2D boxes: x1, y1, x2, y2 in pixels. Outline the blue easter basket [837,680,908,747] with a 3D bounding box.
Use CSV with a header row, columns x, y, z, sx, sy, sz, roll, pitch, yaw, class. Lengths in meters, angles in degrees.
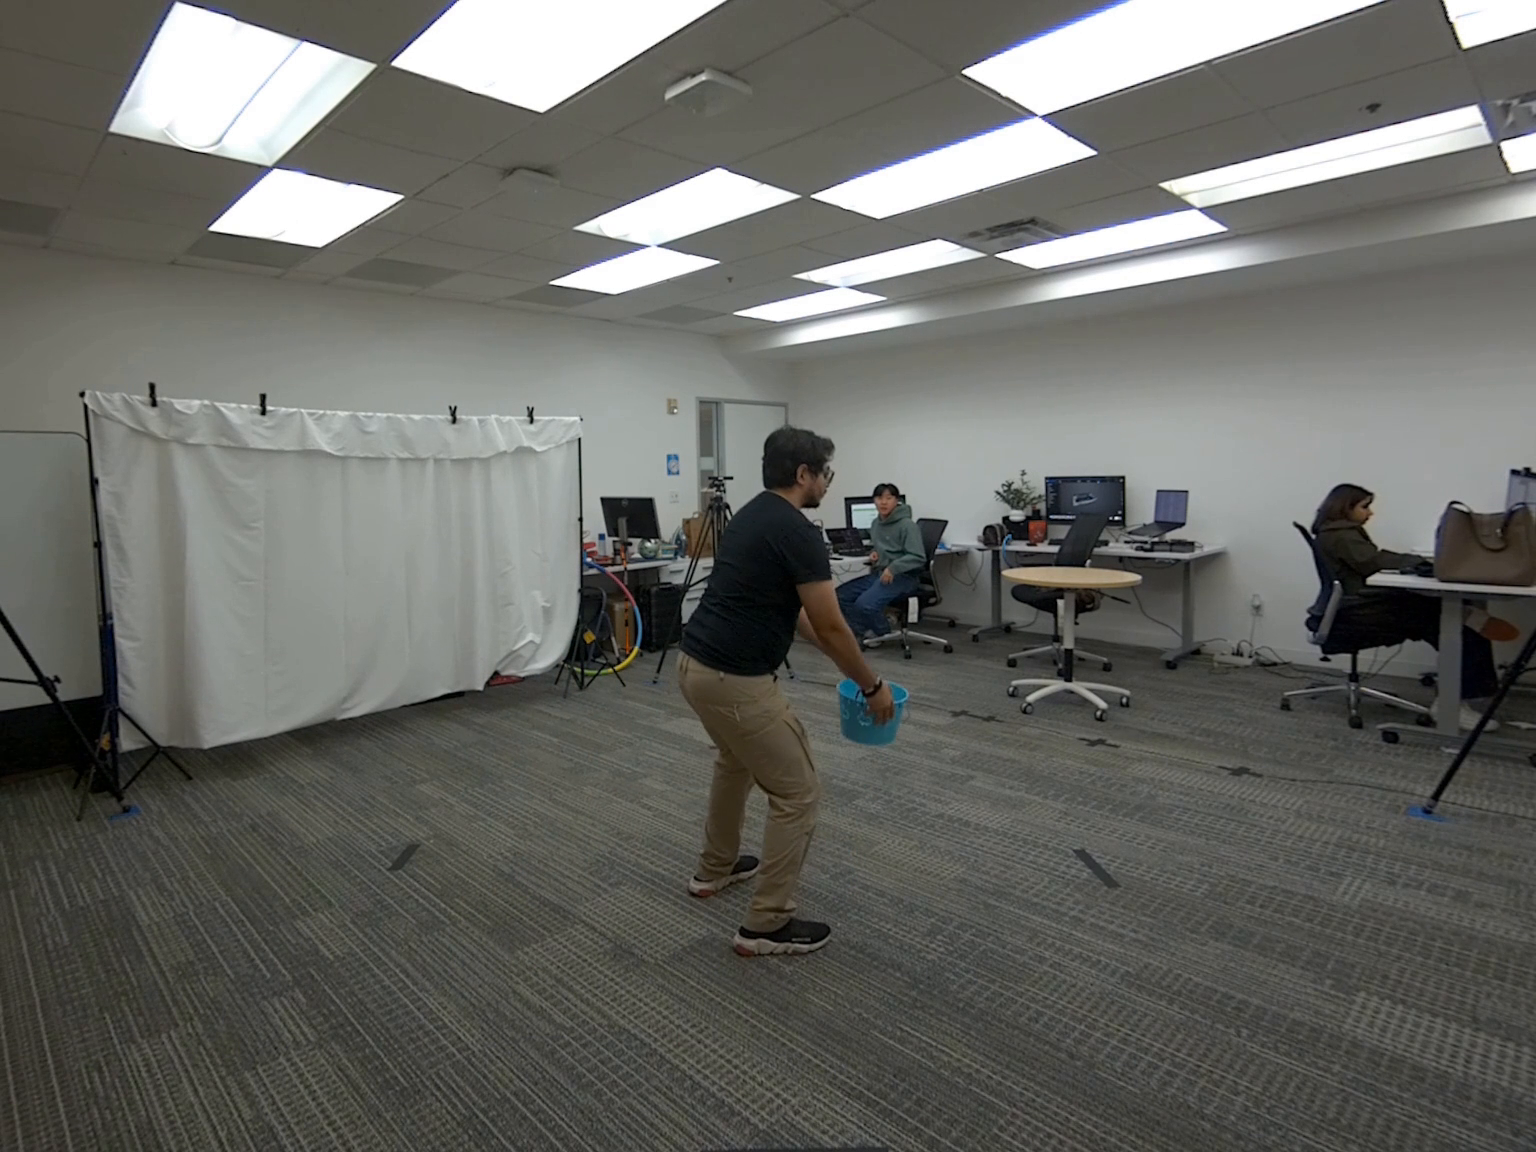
x,y,z,sx,sy,sz,roll,pitch,yaw,class
0.343,0.442,2.796,0.243,0.154,0.246,4,12,-3,blue easter basket
